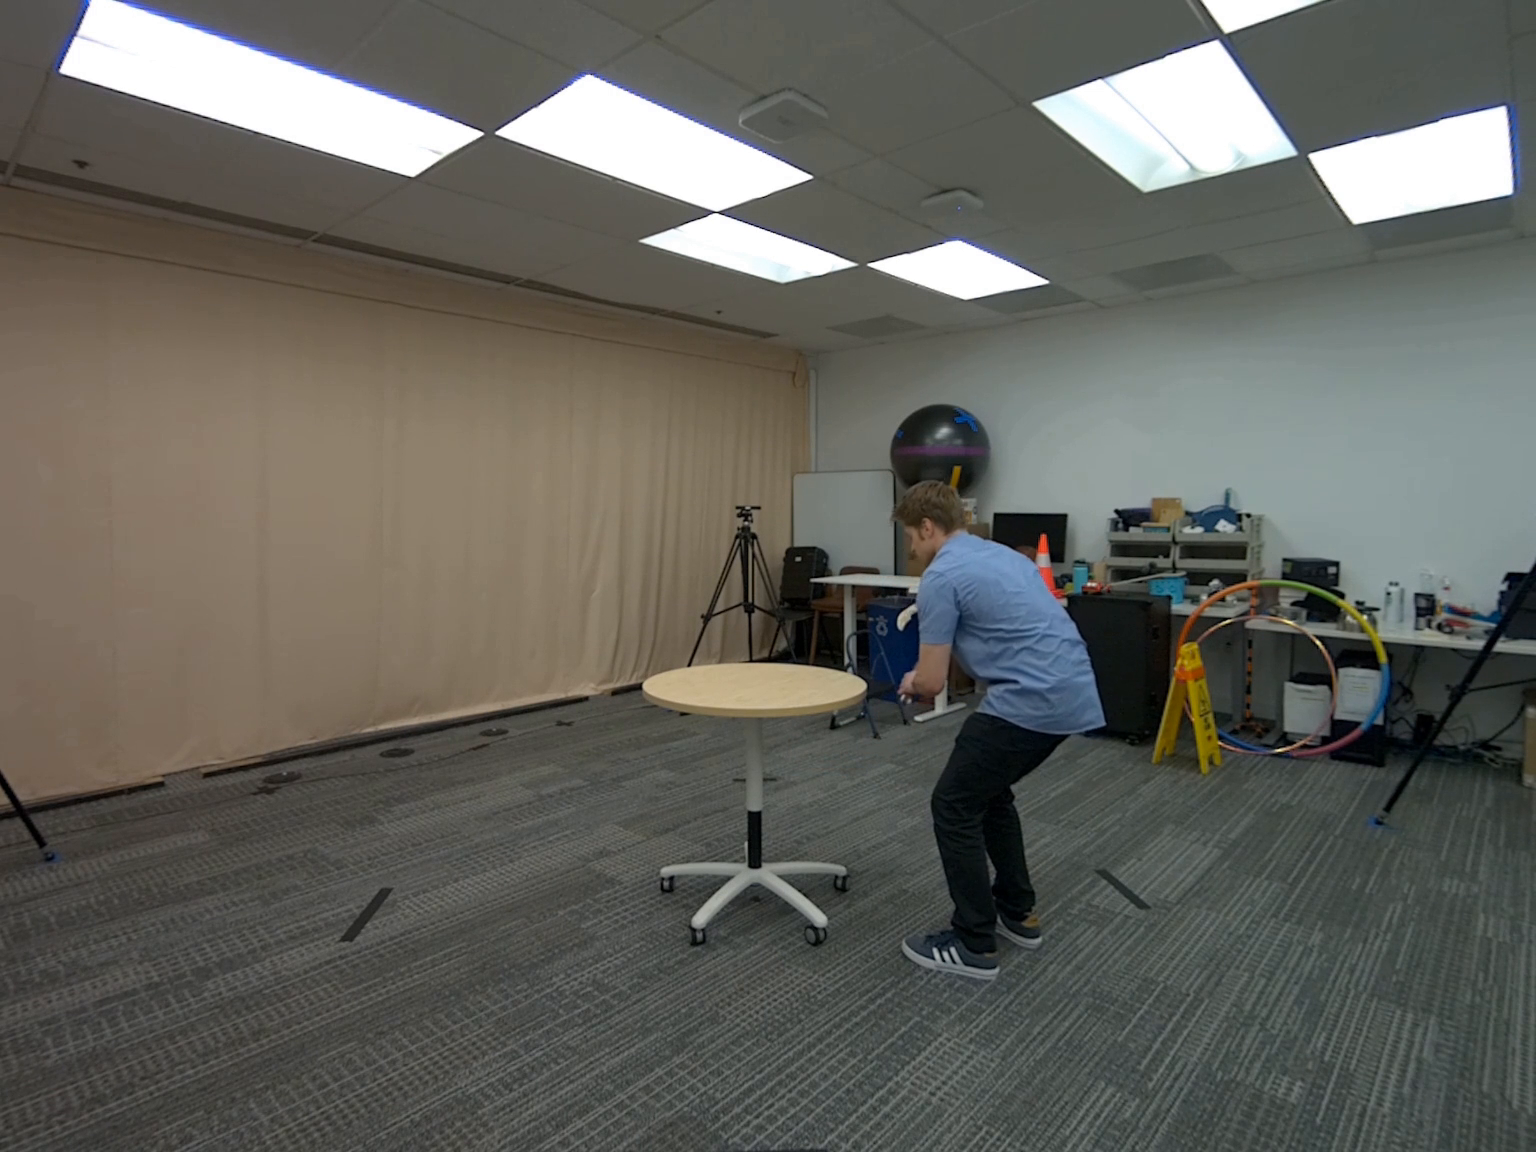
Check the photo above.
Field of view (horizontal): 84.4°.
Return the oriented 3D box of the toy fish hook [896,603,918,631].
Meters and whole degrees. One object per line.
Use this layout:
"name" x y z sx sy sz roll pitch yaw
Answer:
"toy fish hook" 0.535 0.267 3.032 0.230 0.047 0.504 17 47 21
